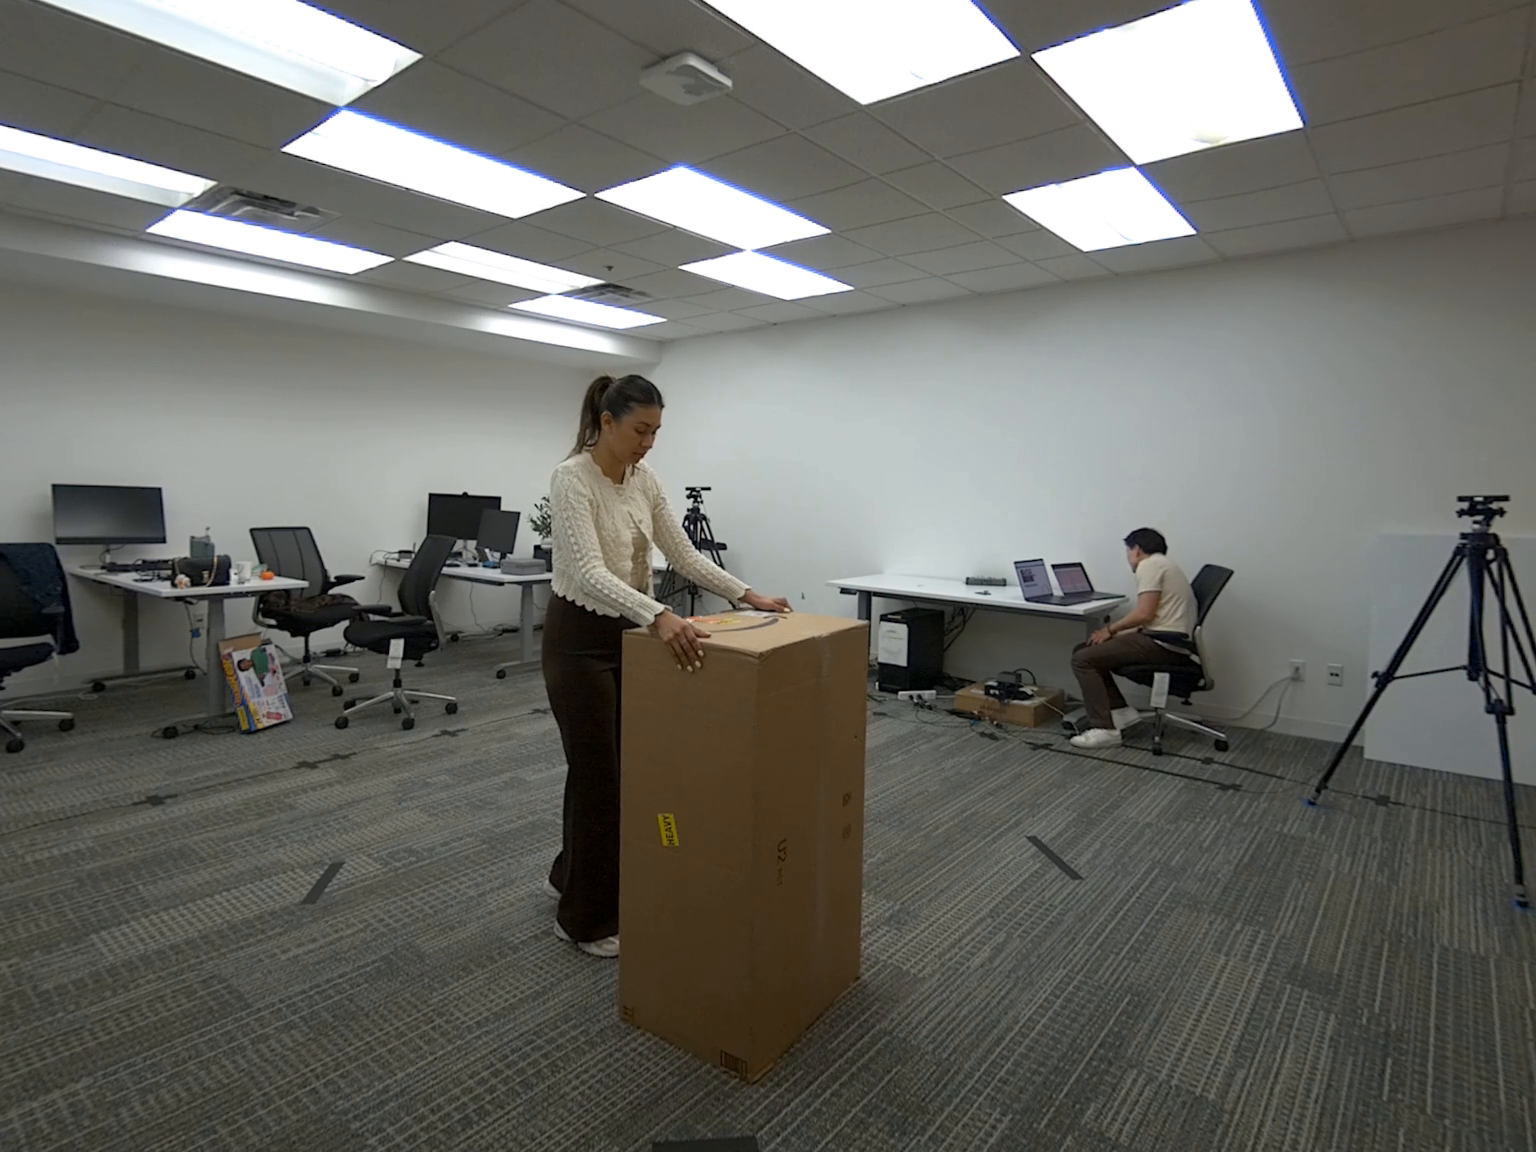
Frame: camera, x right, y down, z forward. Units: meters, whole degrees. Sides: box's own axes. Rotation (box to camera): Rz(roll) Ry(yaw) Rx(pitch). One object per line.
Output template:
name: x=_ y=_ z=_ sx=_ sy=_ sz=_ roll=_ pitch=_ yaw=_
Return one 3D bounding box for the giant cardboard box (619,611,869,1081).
giant cardboard box: x=-0.058 y=0.638 z=2.304 sx=0.440 sy=1.022 sz=0.562 roll=4 pitch=5 yaw=33
